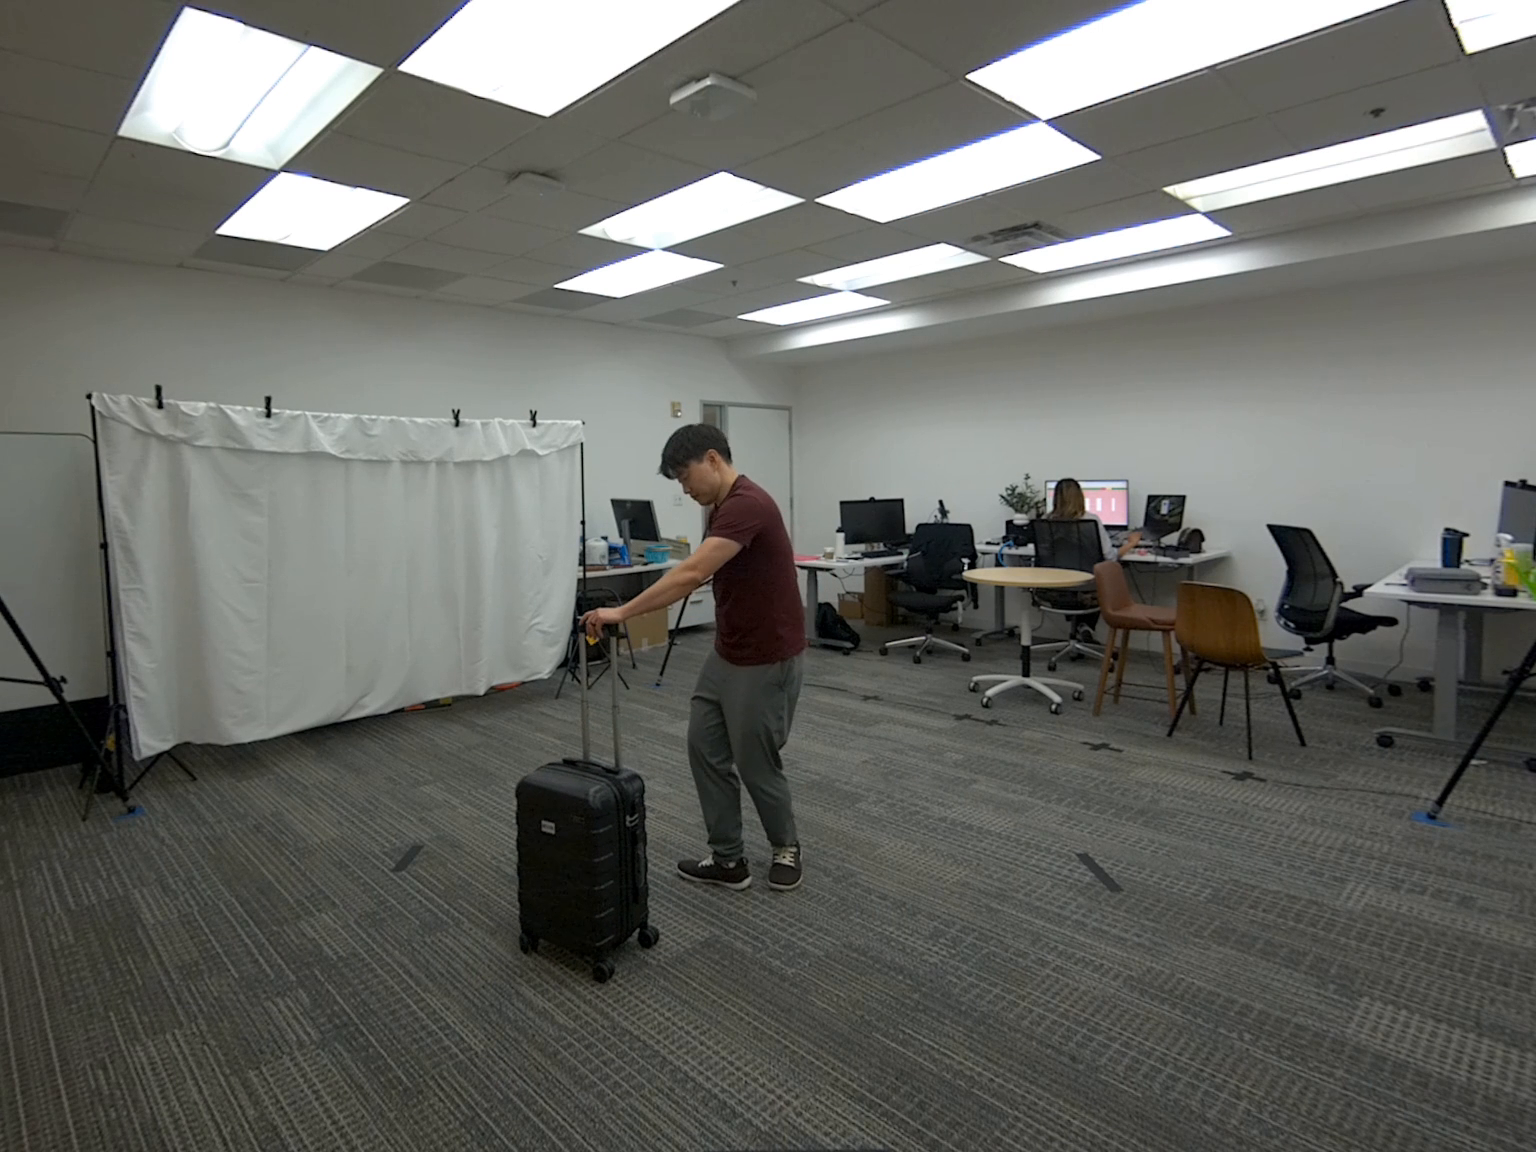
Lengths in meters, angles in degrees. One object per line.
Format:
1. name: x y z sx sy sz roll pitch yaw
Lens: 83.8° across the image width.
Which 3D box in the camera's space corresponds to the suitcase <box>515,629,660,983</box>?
1. suitcase: -0.558 0.642 2.548 0.394 0.975 0.251 0 4 32
